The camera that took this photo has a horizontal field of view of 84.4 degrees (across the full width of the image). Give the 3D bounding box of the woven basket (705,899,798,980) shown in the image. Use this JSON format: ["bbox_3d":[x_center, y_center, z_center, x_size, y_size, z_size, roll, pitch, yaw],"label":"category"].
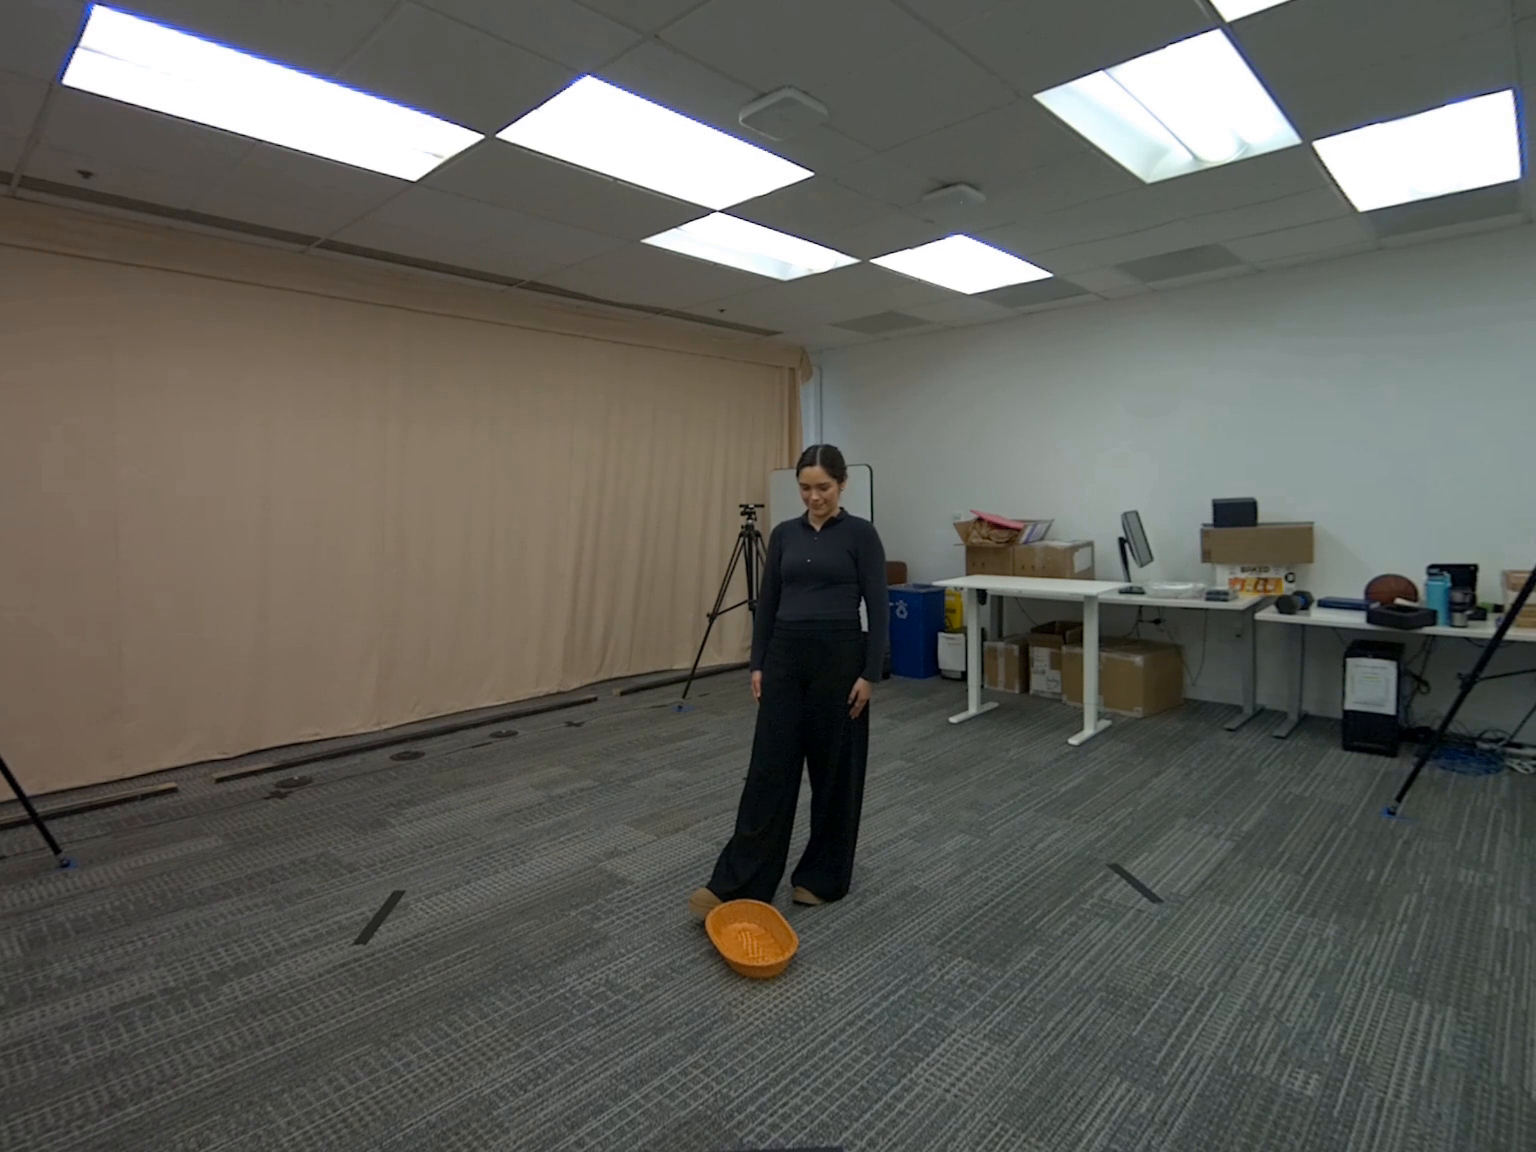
[{"bbox_3d":[-0.052,1.123,2.600,0.247,0.073,0.359,-4,10,-21],"label":"woven basket"}]
